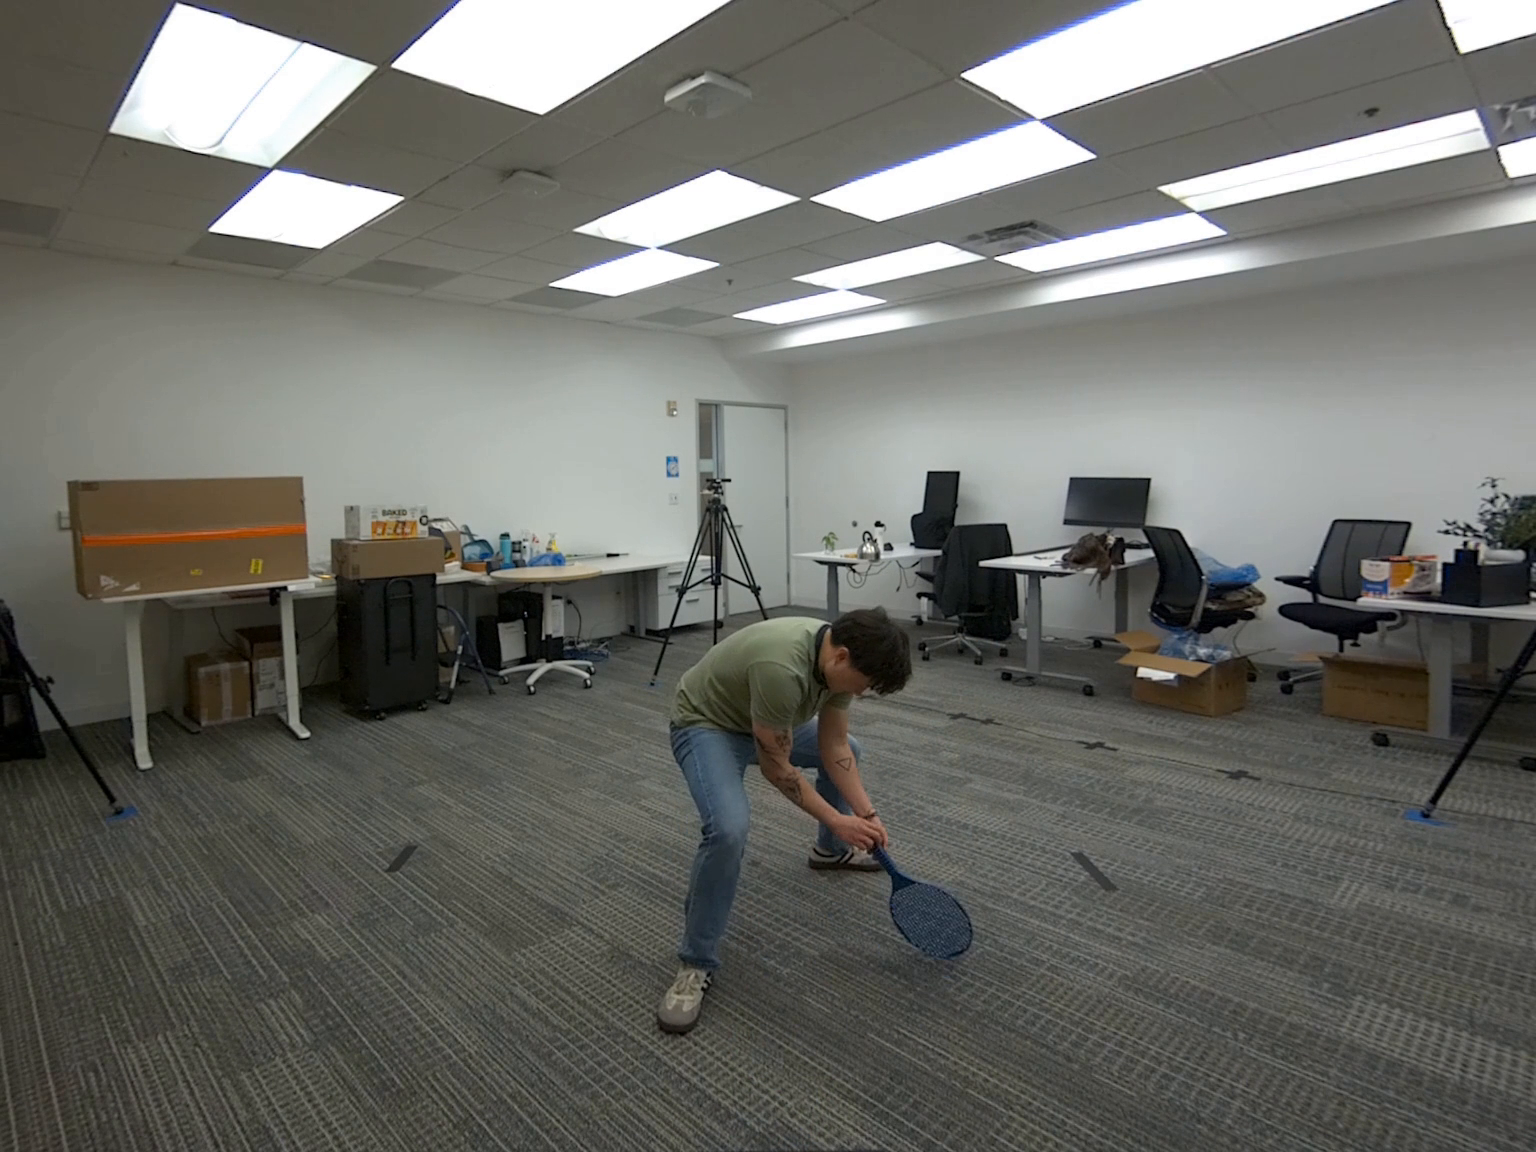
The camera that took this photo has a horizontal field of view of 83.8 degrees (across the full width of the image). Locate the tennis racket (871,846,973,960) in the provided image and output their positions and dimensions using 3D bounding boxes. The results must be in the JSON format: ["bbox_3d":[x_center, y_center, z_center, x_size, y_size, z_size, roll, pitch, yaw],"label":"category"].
[{"bbox_3d":[0.412,0.931,2.472,0.213,0.436,0.031,-48,-6,26],"label":"tennis racket"}]
